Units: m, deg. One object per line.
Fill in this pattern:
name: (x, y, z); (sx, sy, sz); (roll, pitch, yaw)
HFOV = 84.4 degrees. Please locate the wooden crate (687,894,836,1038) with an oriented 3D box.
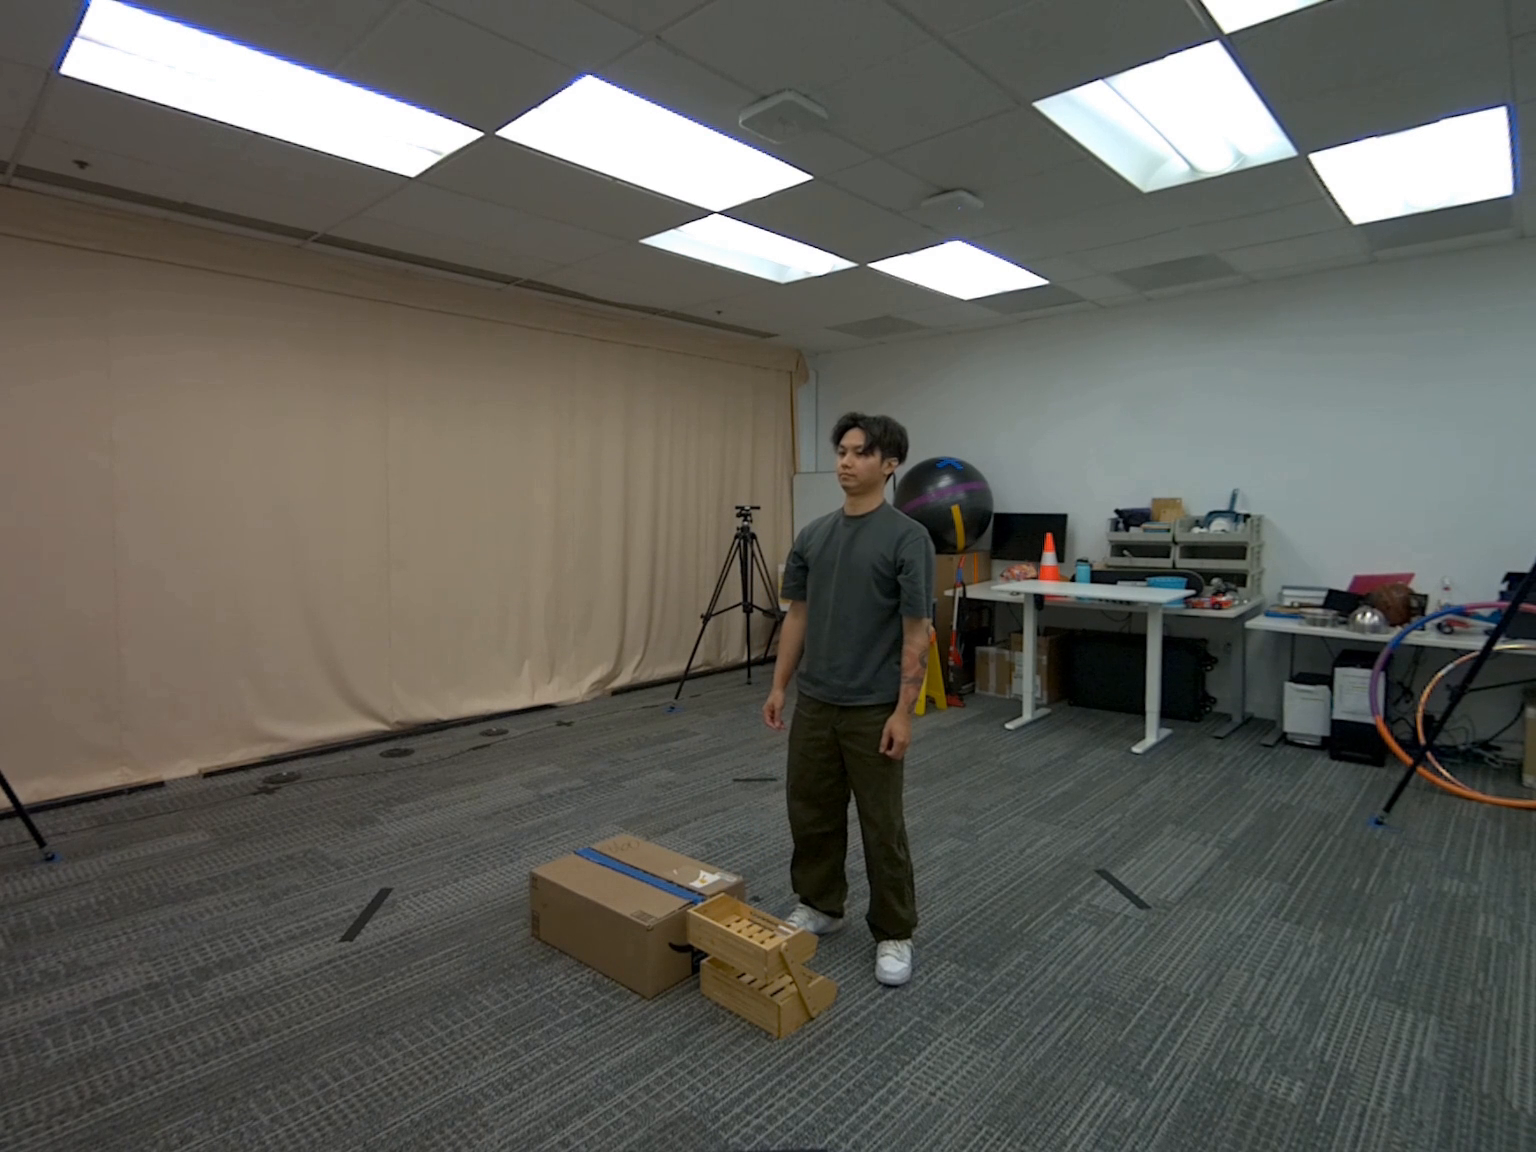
wooden crate: (-0.008, 1.060, 2.364); (0.335, 0.272, 0.293); (5, 6, 43)
